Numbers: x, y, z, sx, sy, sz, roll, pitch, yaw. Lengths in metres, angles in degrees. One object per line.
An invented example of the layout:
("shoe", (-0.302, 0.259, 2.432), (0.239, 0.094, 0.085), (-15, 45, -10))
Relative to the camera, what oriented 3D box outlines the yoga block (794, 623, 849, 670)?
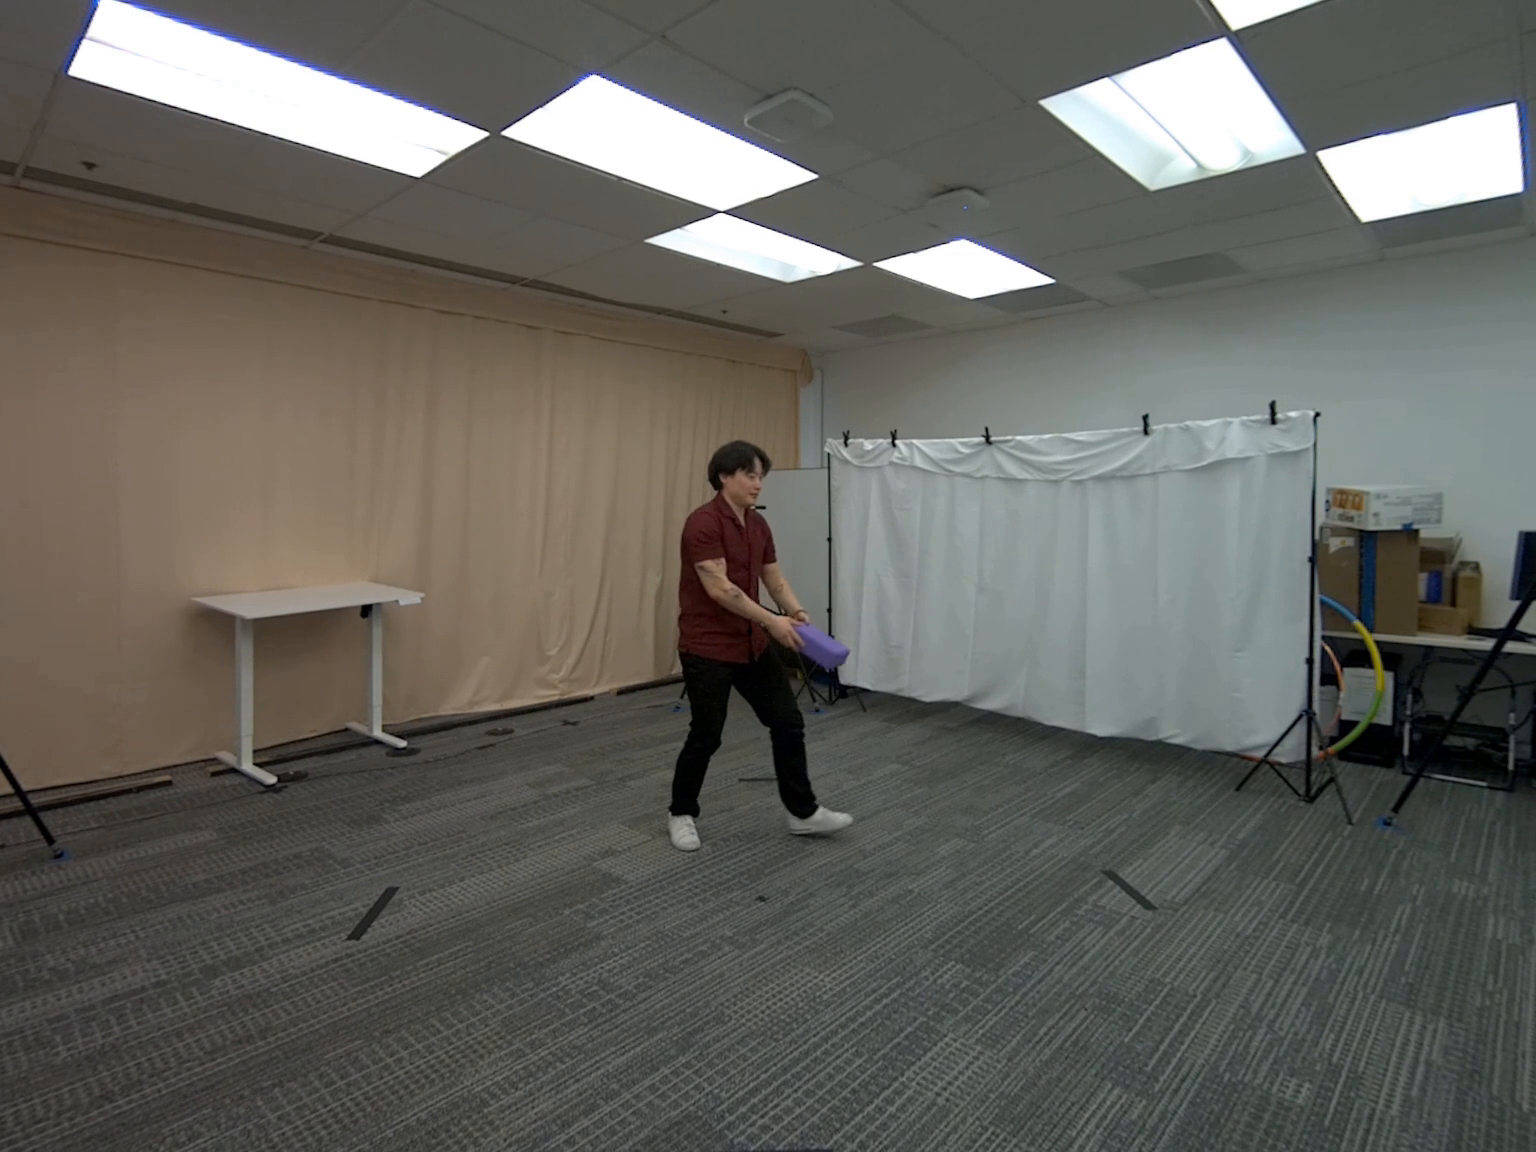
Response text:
("yoga block", (0.242, 0.244, 3.310), (0.236, 0.076, 0.145), (24, 14, 27))
